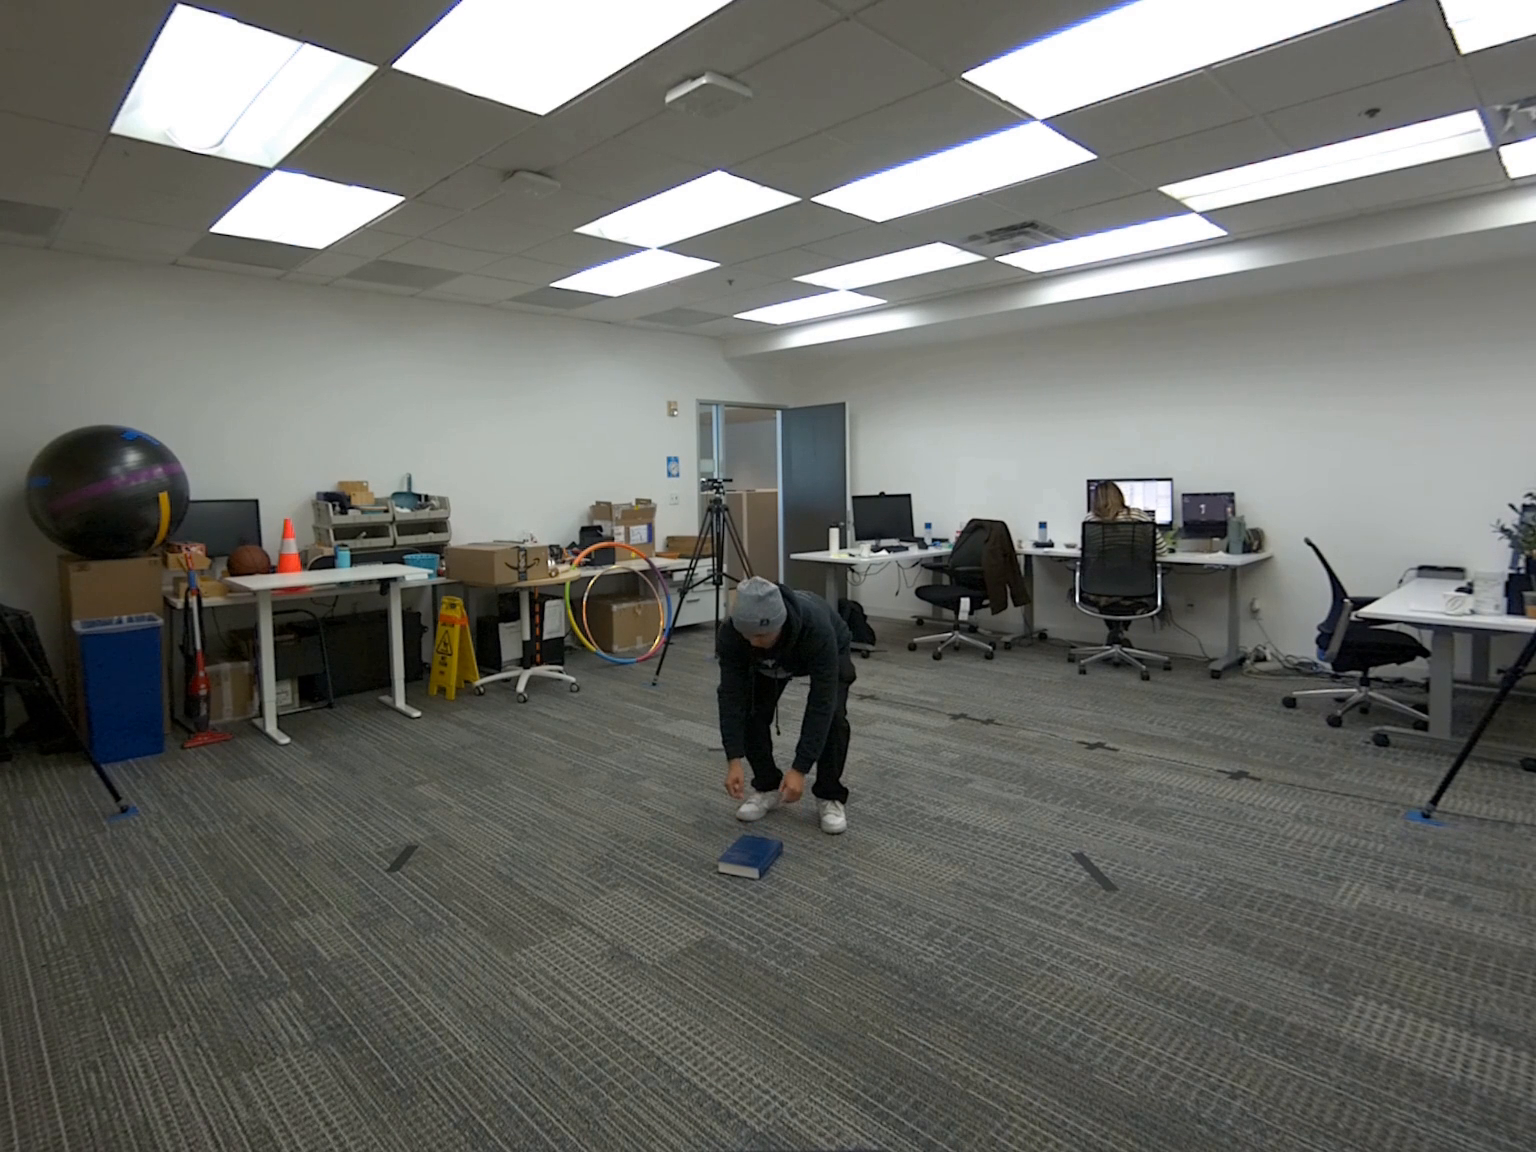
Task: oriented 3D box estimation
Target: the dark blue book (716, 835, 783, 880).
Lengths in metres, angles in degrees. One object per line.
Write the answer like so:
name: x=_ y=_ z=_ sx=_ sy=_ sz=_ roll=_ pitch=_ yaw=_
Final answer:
dark blue book: x=-0.063 y=1.021 z=3.112 sx=0.167 sy=0.045 sz=0.241 roll=1 pitch=7 yaw=22
